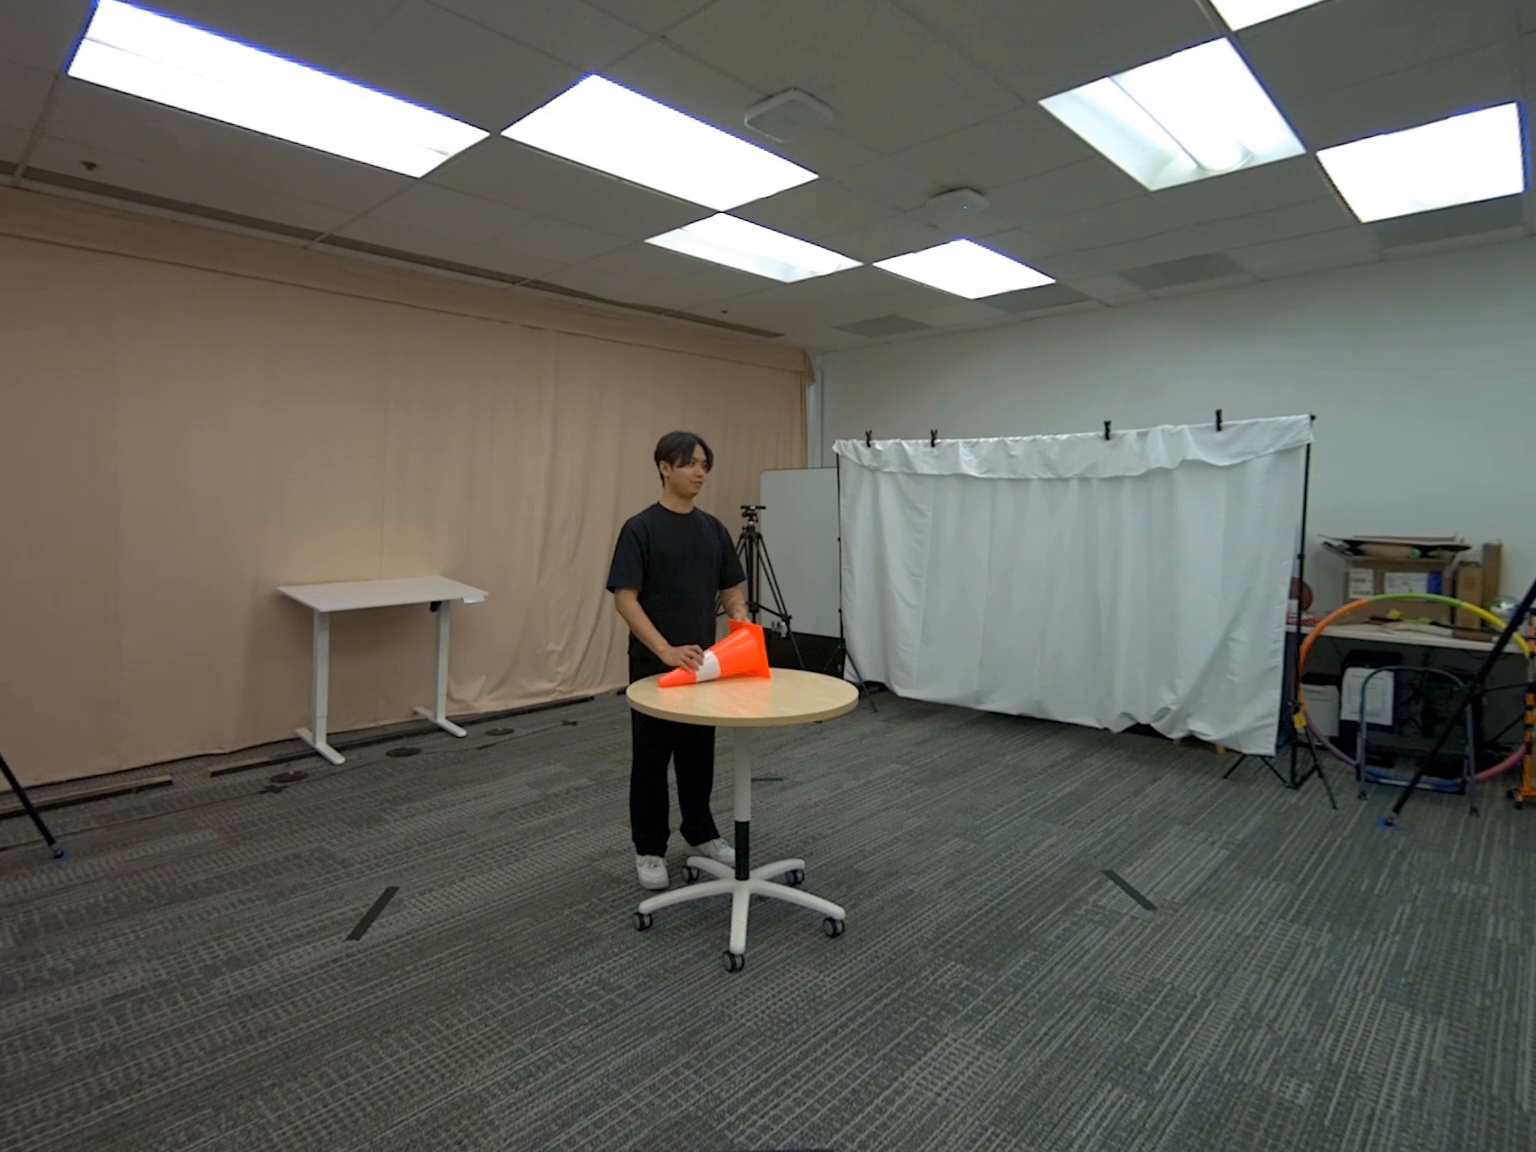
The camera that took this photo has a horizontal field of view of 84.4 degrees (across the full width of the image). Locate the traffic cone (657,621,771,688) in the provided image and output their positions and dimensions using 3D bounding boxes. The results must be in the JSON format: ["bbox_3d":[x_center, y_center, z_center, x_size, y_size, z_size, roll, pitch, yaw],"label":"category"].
[{"bbox_3d":[-0.212,0.314,2.925,0.375,0.201,0.212,-16,15,-33],"label":"traffic cone"}]
